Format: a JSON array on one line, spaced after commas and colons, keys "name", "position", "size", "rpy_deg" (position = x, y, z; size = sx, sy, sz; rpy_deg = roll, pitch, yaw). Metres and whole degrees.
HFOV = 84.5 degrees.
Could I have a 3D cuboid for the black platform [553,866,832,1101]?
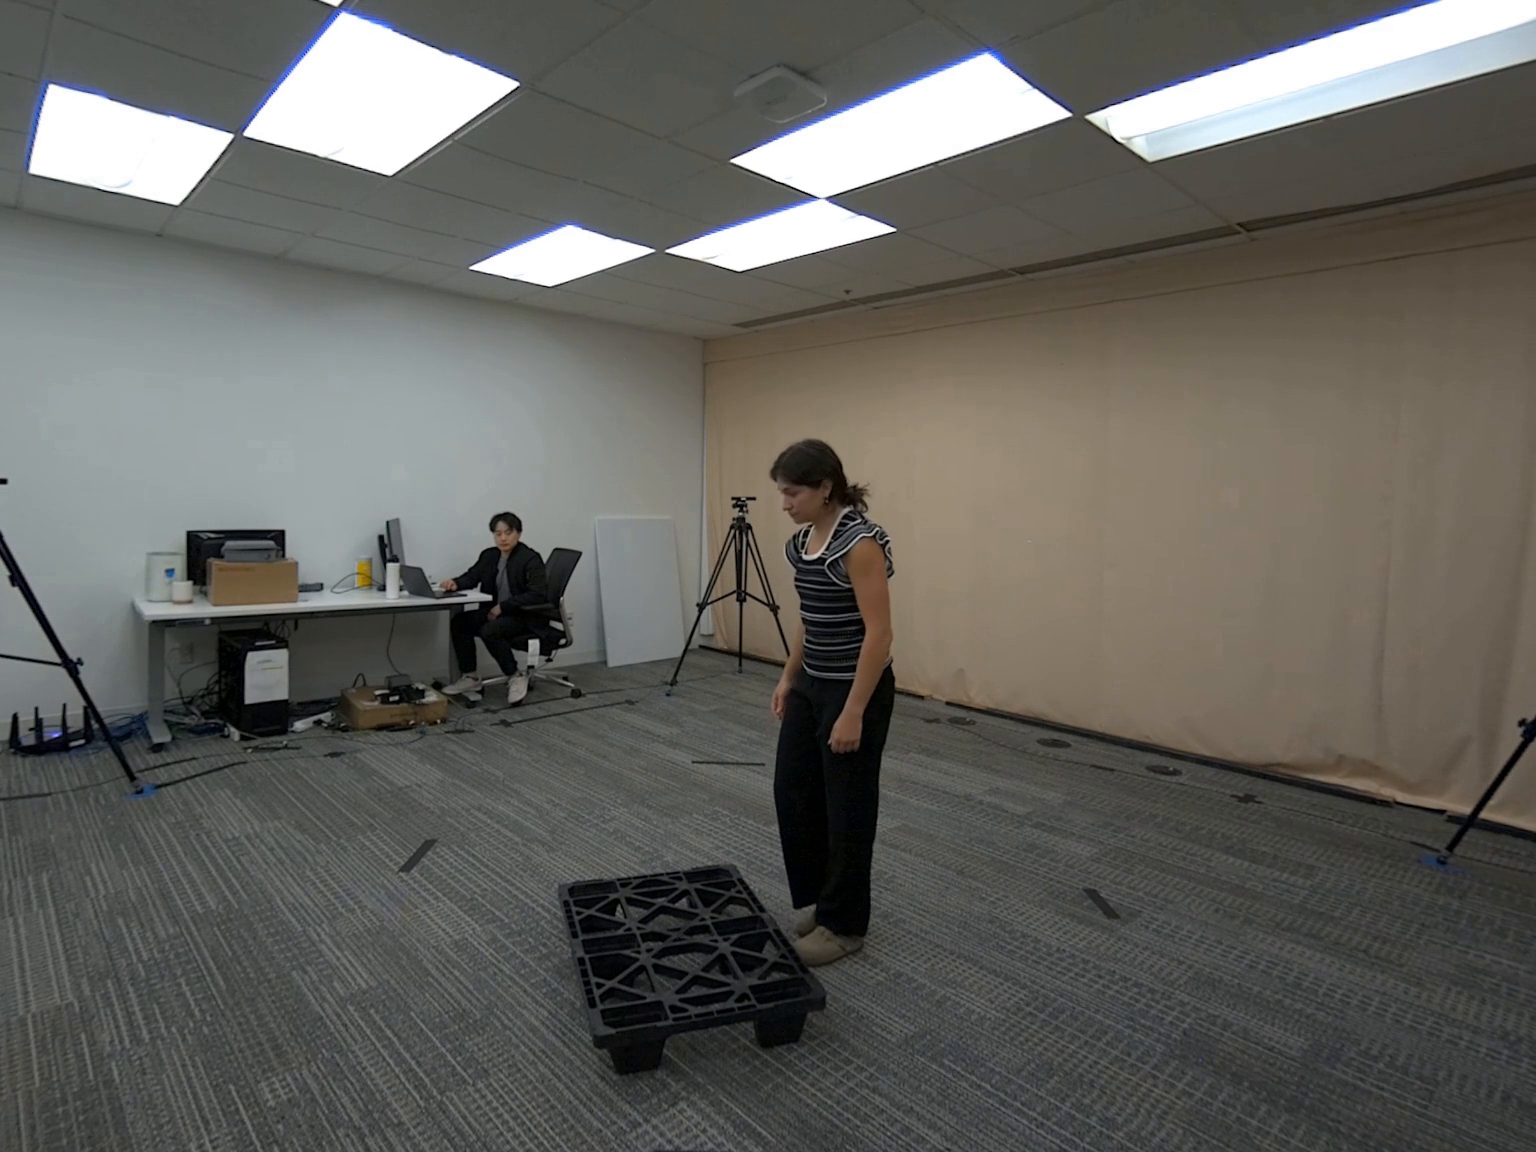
[{"name": "black platform", "position": [-0.267, 1.104, 2.431], "size": [0.596, 0.143, 0.820], "rpy_deg": [0, 6, -19]}]
